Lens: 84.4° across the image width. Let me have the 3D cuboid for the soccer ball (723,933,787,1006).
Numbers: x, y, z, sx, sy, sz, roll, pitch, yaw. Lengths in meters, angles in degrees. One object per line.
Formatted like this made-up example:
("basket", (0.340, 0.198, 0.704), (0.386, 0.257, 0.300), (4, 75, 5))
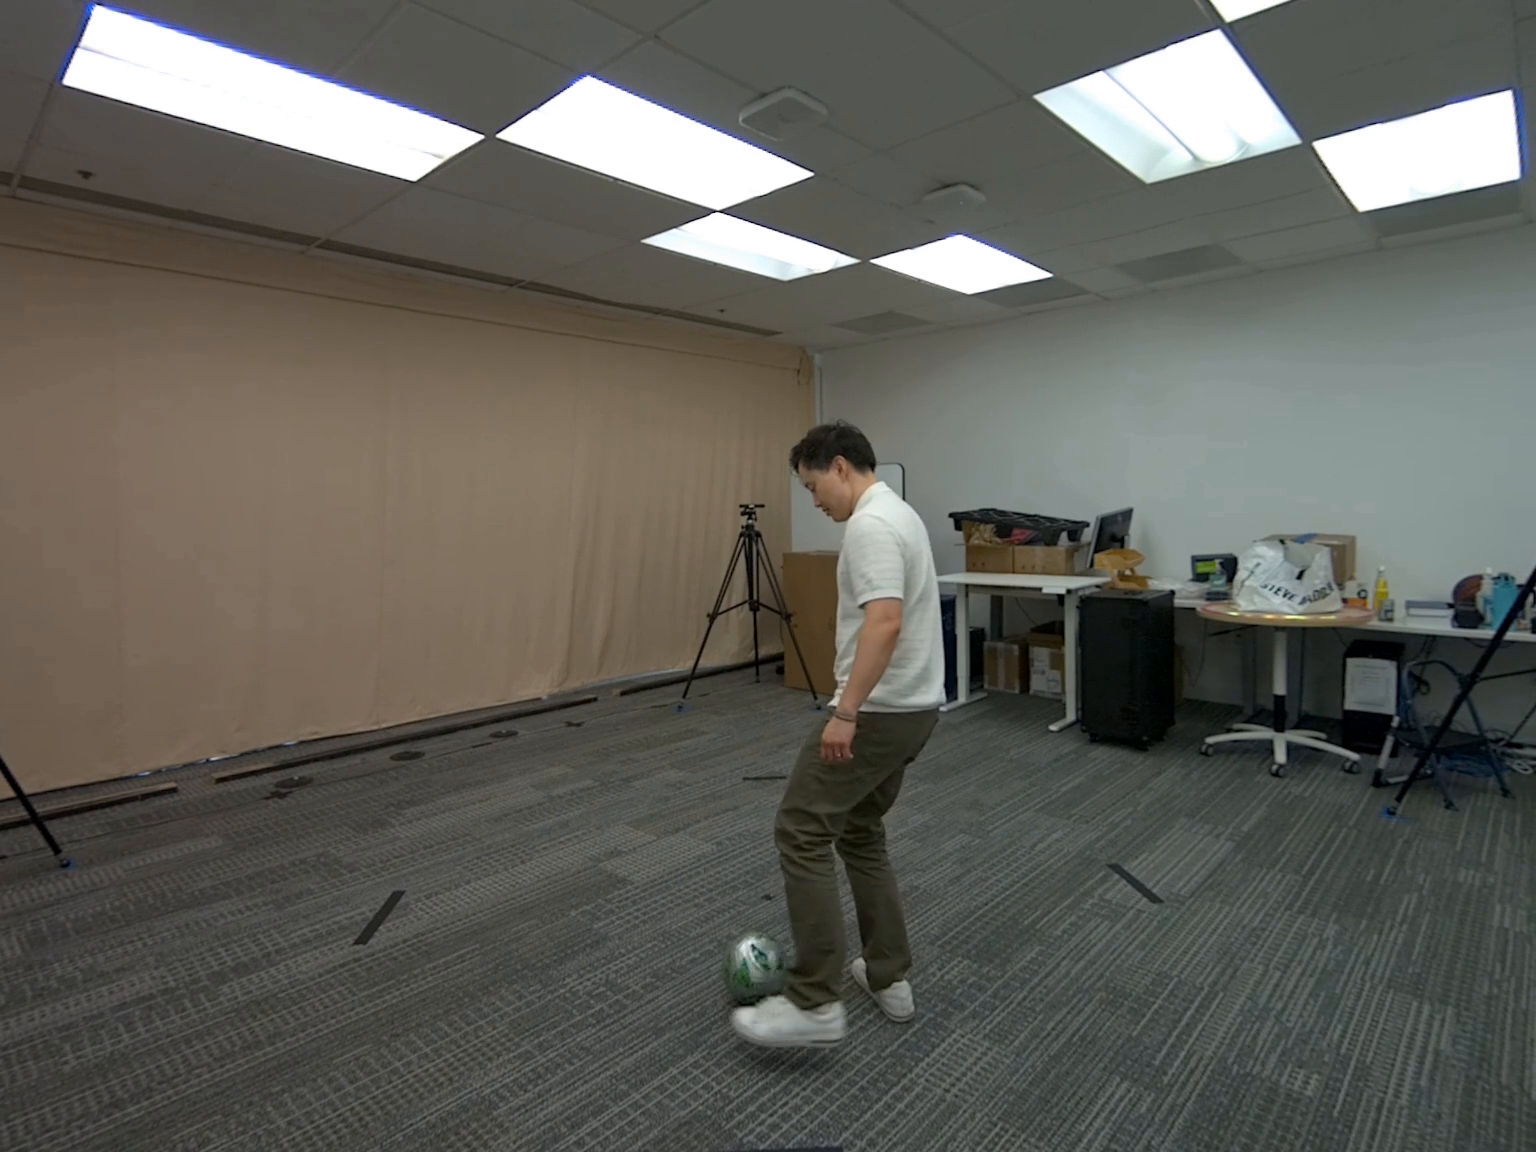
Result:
("soccer ball", (-0.032, 1.106, 2.366), (0.187, 0.187, 0.188), (-1, 4, -2))
